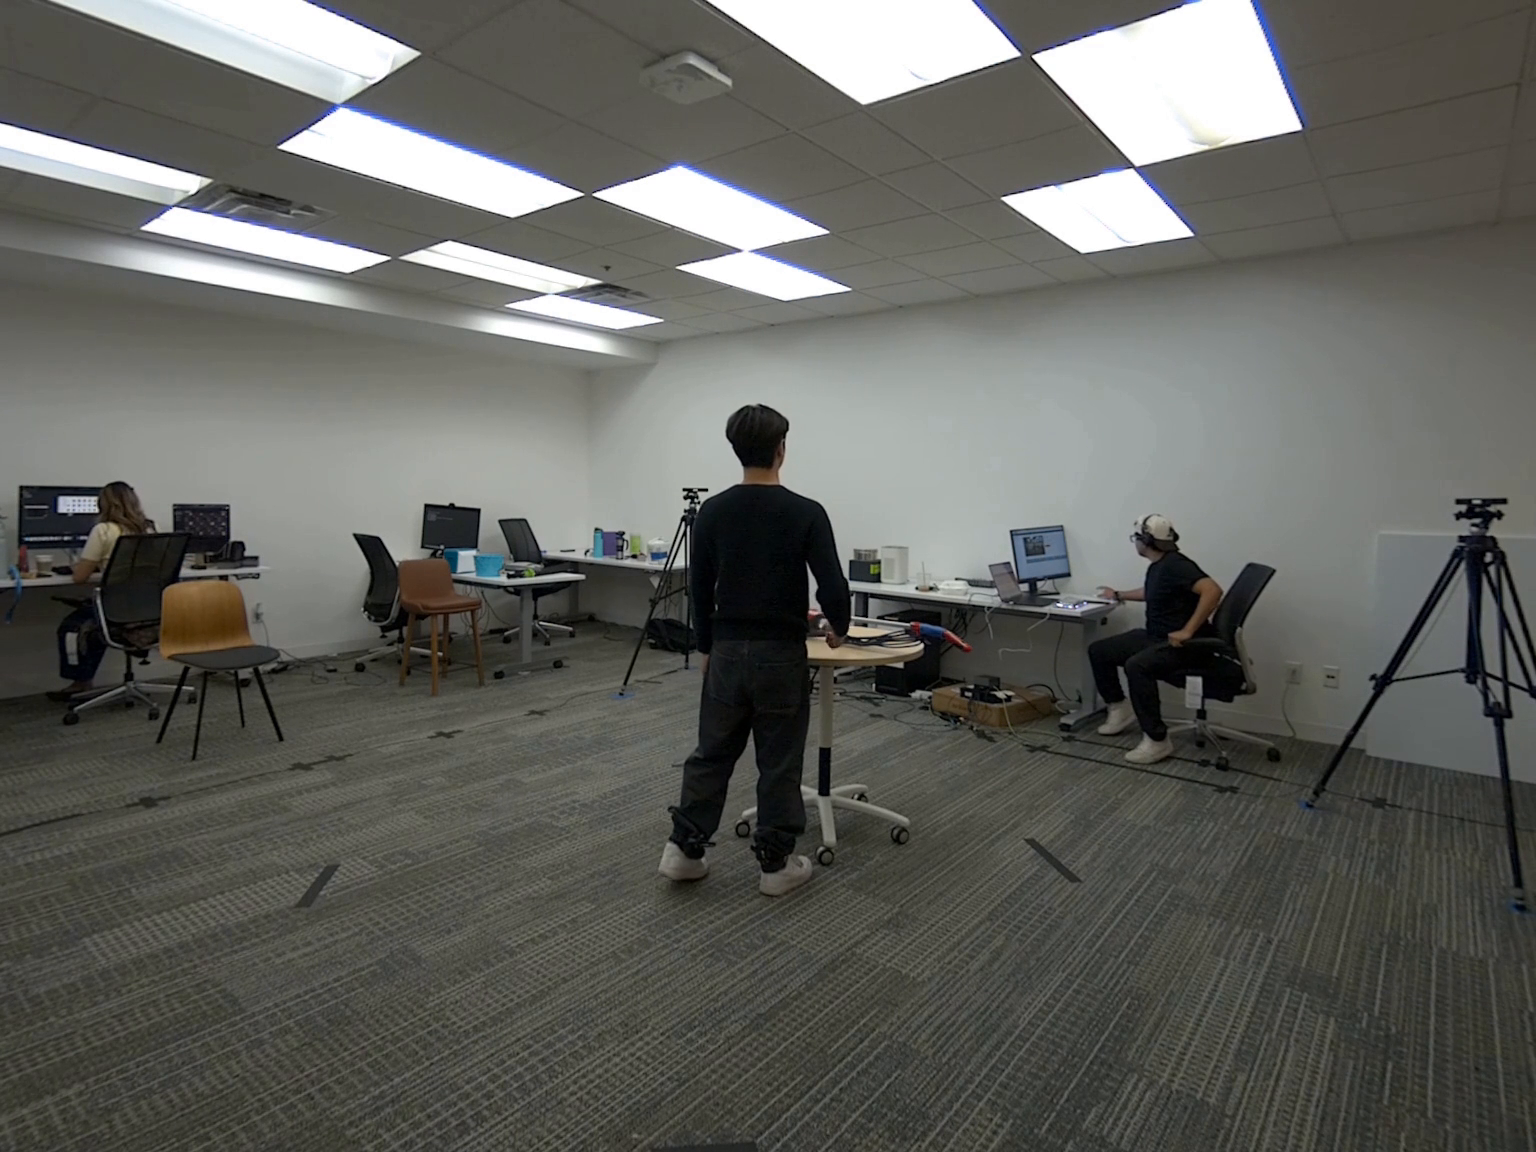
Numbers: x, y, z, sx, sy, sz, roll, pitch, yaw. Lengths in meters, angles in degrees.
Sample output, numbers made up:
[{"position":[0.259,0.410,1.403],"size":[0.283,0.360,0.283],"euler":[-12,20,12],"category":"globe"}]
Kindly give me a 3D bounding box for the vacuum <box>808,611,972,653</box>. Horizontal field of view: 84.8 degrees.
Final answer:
[{"position":[0.305,0.214,3.367],"size":[1.086,0.143,0.245],"euler":[7,10,43],"category":"vacuum"}]
